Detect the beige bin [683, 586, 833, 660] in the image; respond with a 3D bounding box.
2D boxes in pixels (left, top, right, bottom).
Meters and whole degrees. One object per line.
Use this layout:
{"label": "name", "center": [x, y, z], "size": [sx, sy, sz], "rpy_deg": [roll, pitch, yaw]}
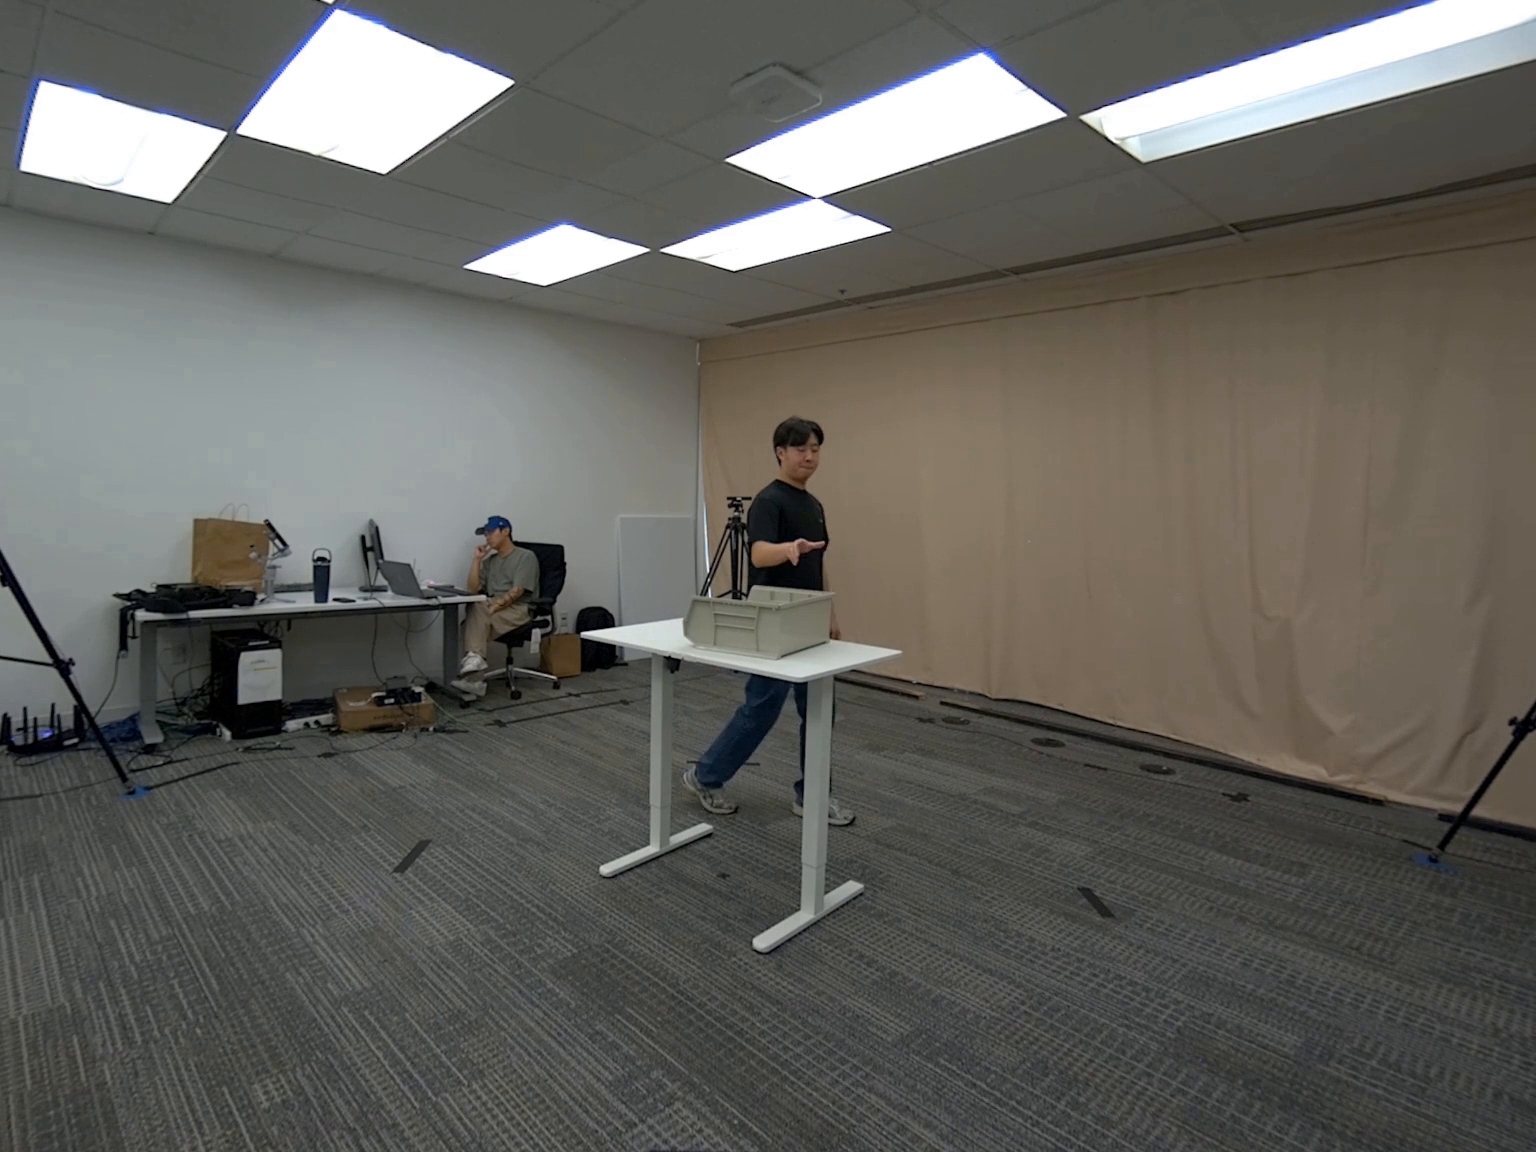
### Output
{"label": "beige bin", "center": [-0.028, 0.158, 2.934], "size": [0.386, 0.188, 0.414], "rpy_deg": [6, 6, 30]}
